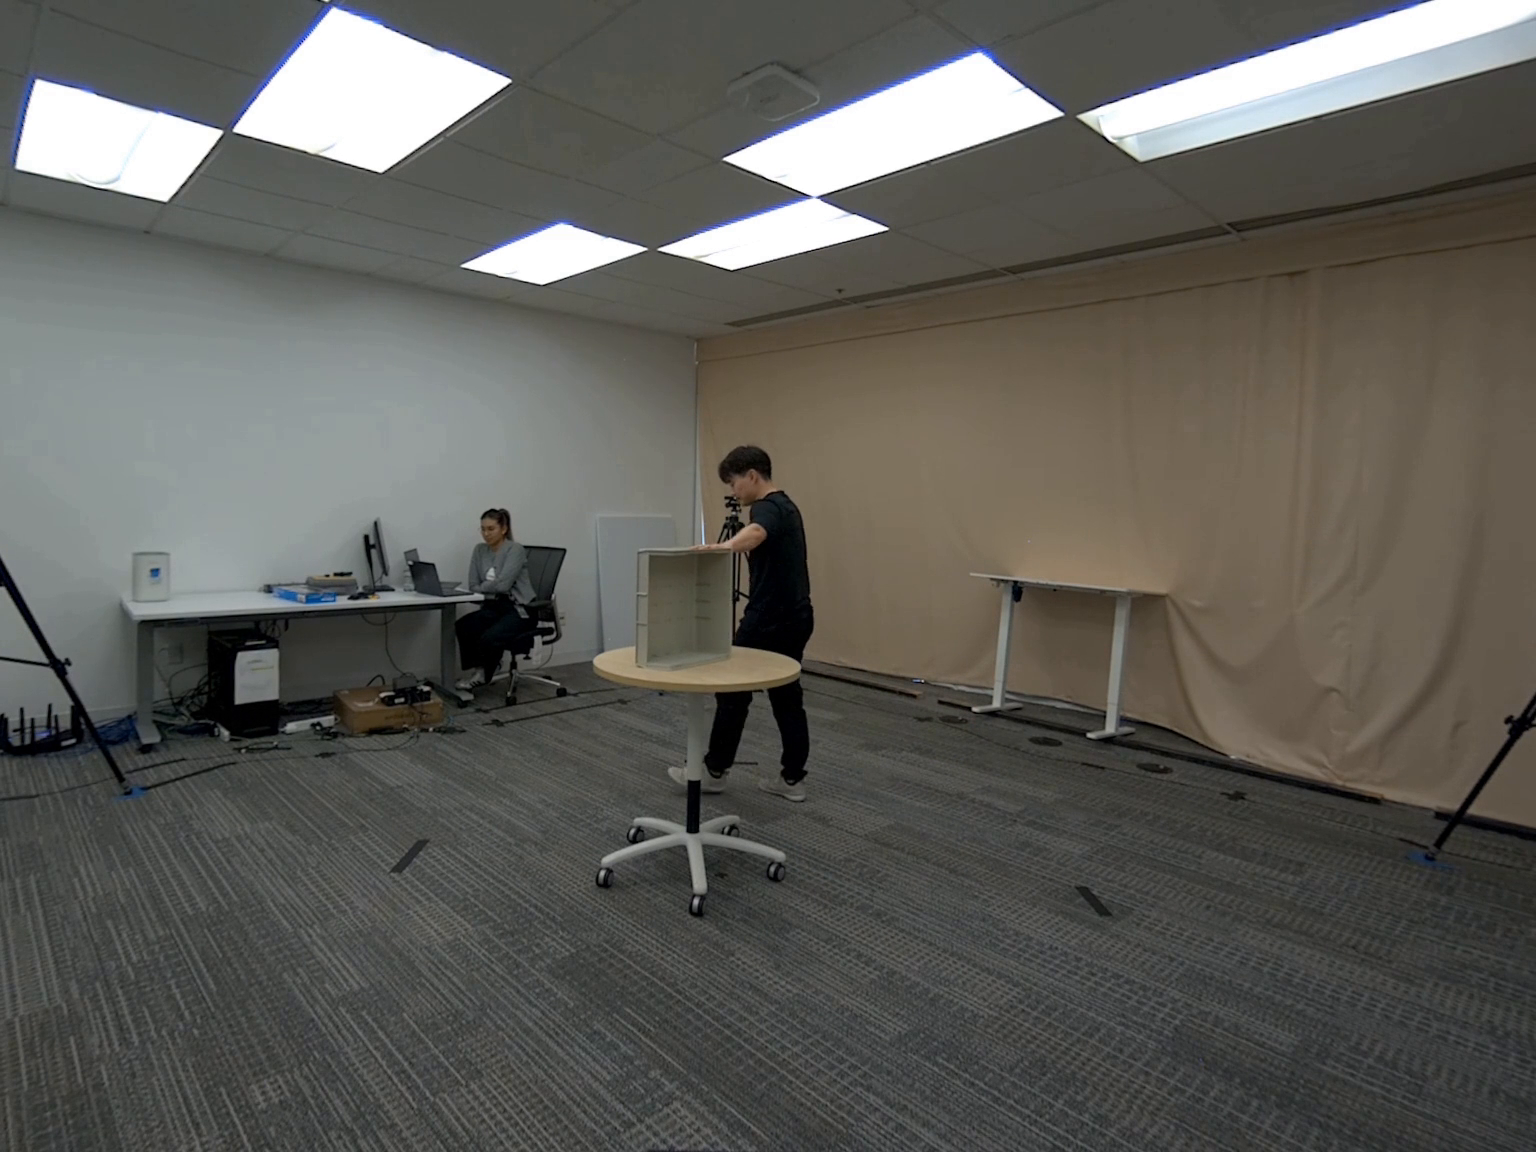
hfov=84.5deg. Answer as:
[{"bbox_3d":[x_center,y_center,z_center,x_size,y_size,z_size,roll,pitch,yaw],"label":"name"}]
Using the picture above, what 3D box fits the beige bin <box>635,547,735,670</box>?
[{"bbox_3d":[-0.330,0.109,3.089,0.193,0.421,0.369,2,3,36],"label":"beige bin"}]
